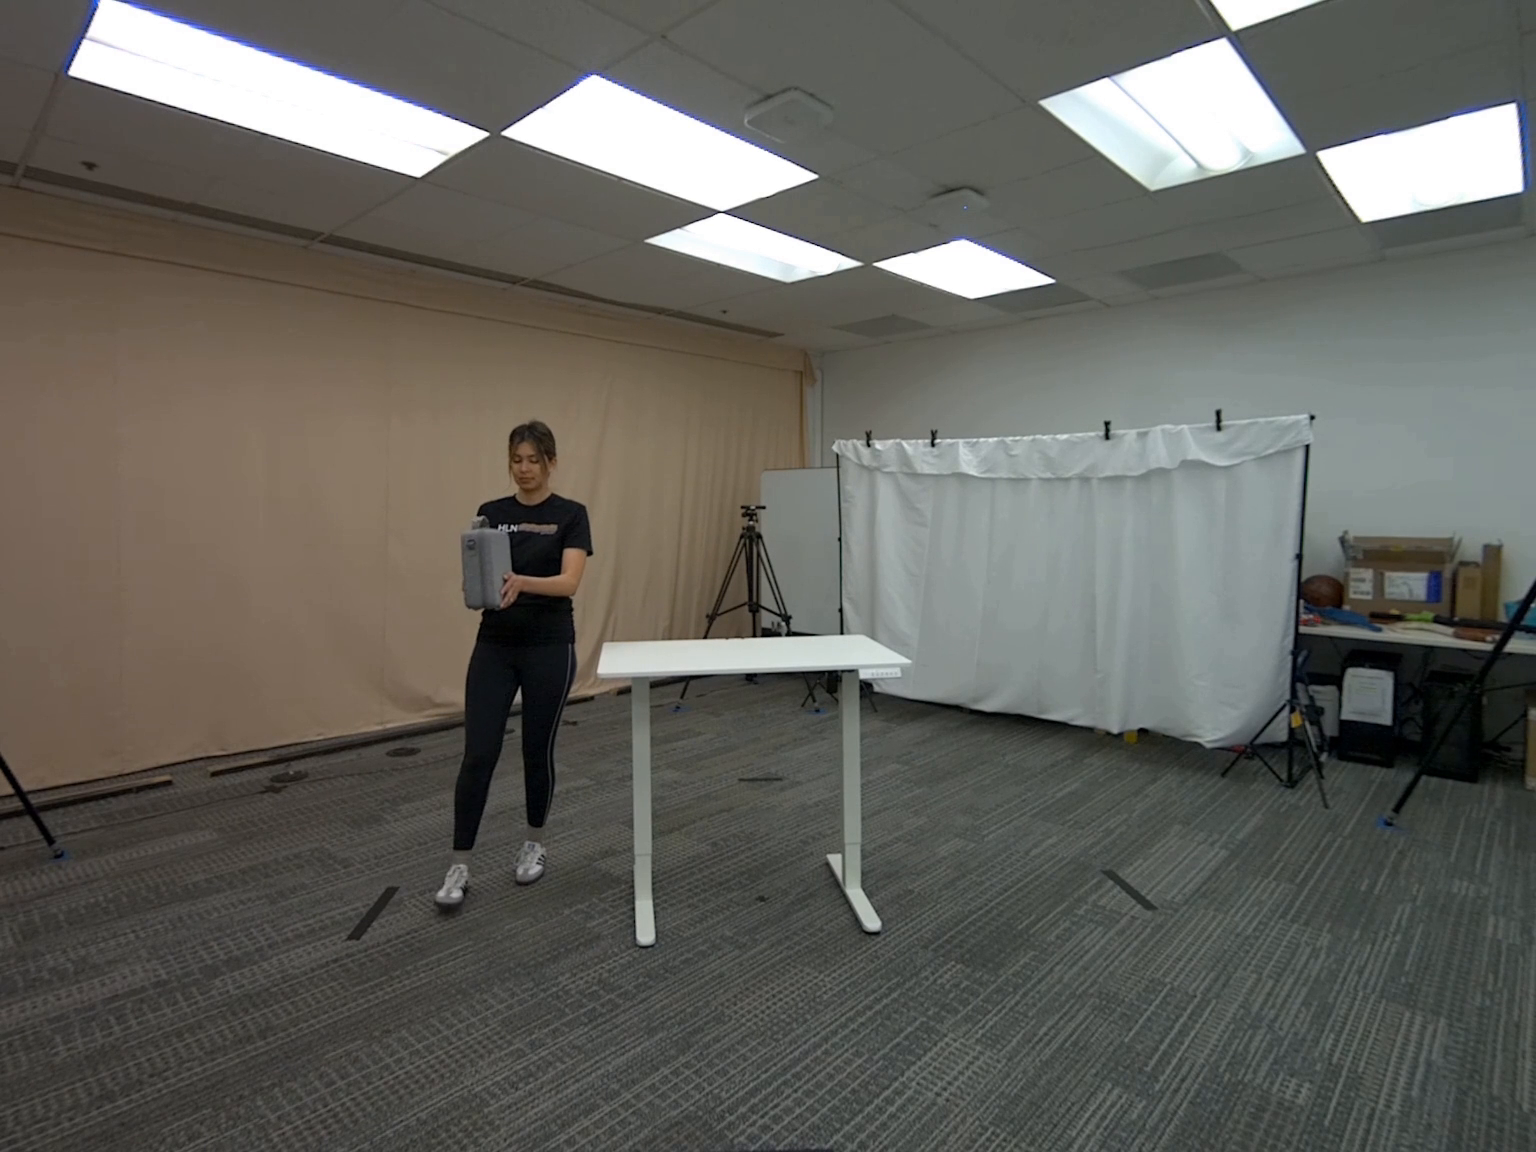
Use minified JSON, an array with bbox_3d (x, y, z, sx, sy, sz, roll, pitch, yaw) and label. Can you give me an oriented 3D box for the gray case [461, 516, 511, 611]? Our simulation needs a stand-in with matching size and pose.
[{"bbox_3d":[-0.907,-0.033,2.744,0.104,0.261,0.256,-2,0,1],"label":"gray case"}]
